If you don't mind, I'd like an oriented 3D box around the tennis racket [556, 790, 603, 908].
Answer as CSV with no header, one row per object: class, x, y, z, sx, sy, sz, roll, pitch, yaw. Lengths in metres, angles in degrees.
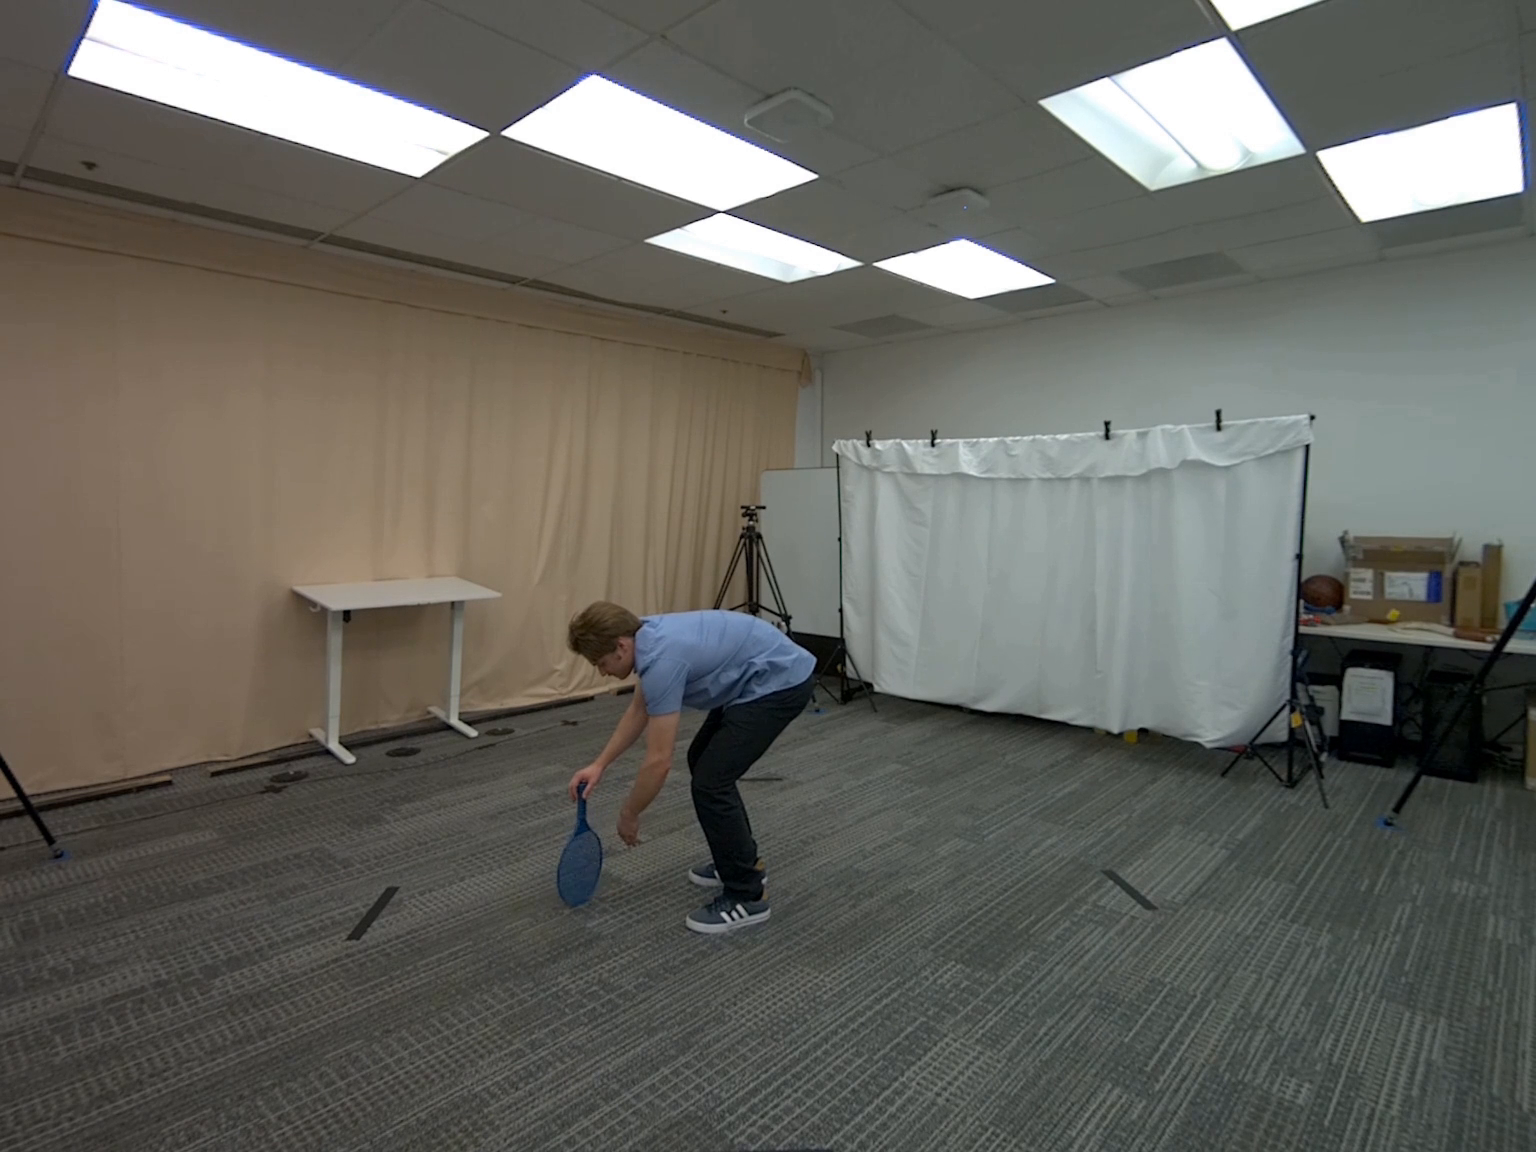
tennis racket,-0.652,0.938,2.940,0.033,0.431,0.208,4,6,32
